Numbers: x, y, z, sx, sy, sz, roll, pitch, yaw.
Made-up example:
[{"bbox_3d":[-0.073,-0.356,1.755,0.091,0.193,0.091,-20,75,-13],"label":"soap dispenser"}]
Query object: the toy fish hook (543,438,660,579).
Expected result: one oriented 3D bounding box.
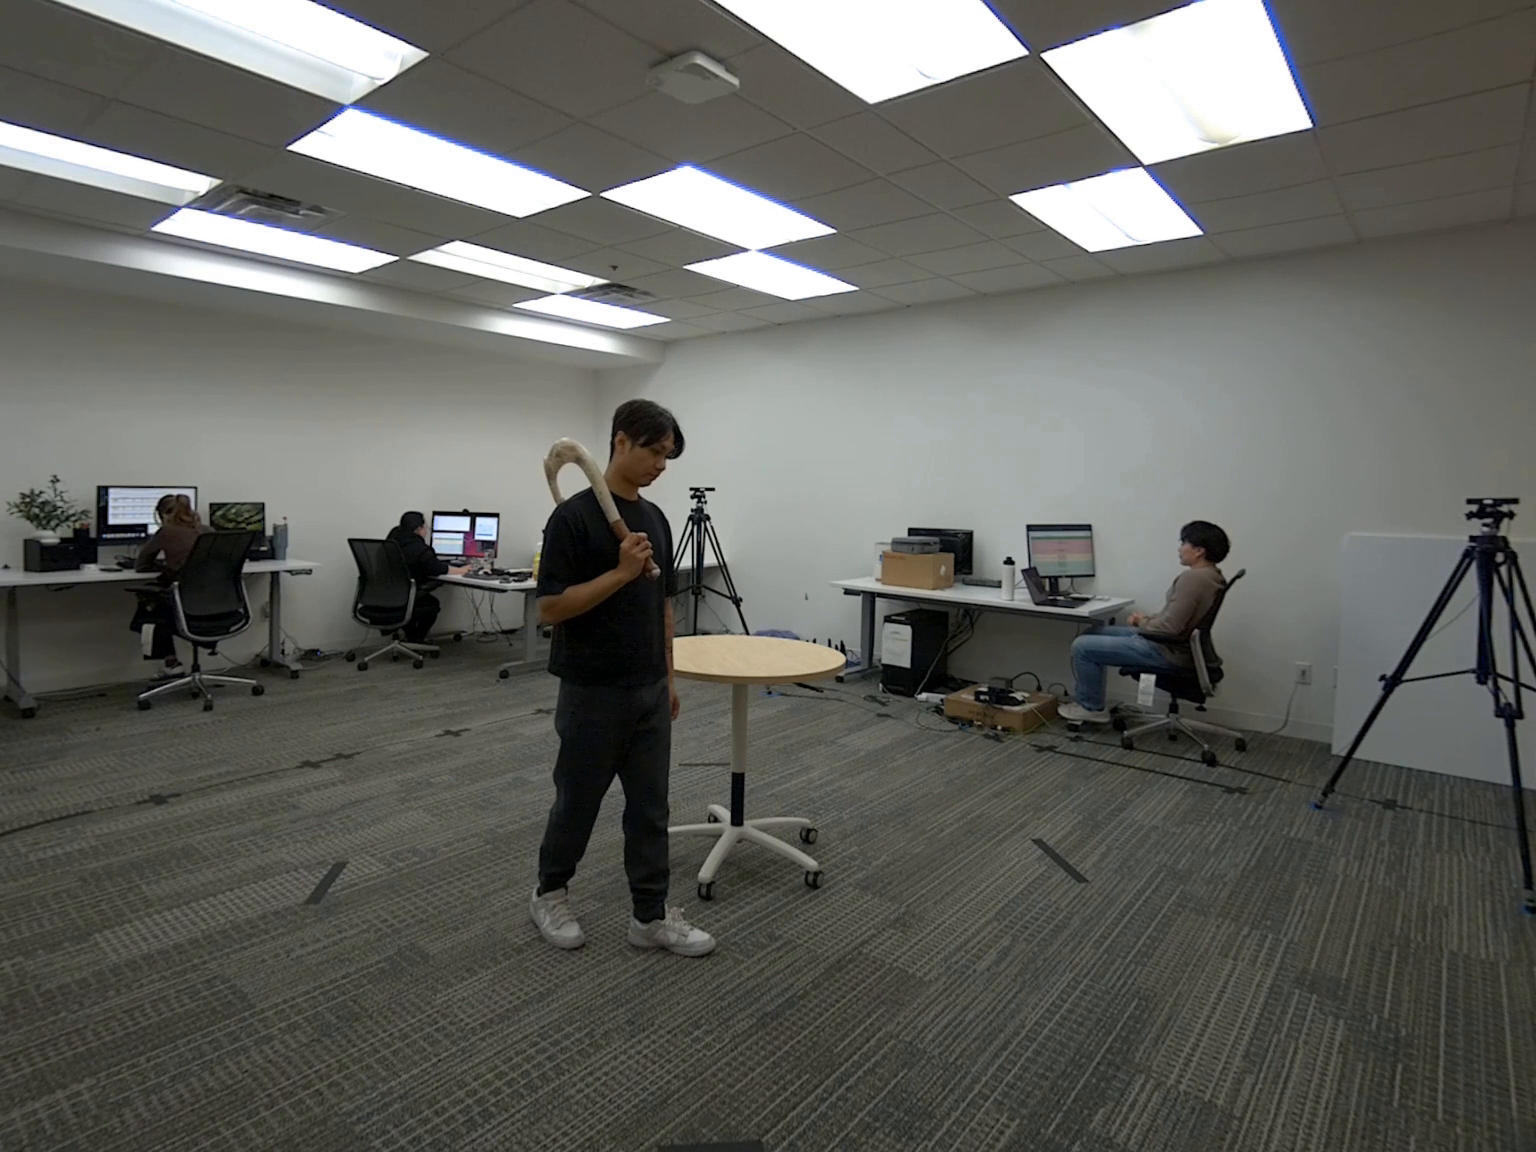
[{"bbox_3d":[-0.510,-0.175,2.481,0.047,0.515,0.225,-23,-17,-47],"label":"toy fish hook"}]
